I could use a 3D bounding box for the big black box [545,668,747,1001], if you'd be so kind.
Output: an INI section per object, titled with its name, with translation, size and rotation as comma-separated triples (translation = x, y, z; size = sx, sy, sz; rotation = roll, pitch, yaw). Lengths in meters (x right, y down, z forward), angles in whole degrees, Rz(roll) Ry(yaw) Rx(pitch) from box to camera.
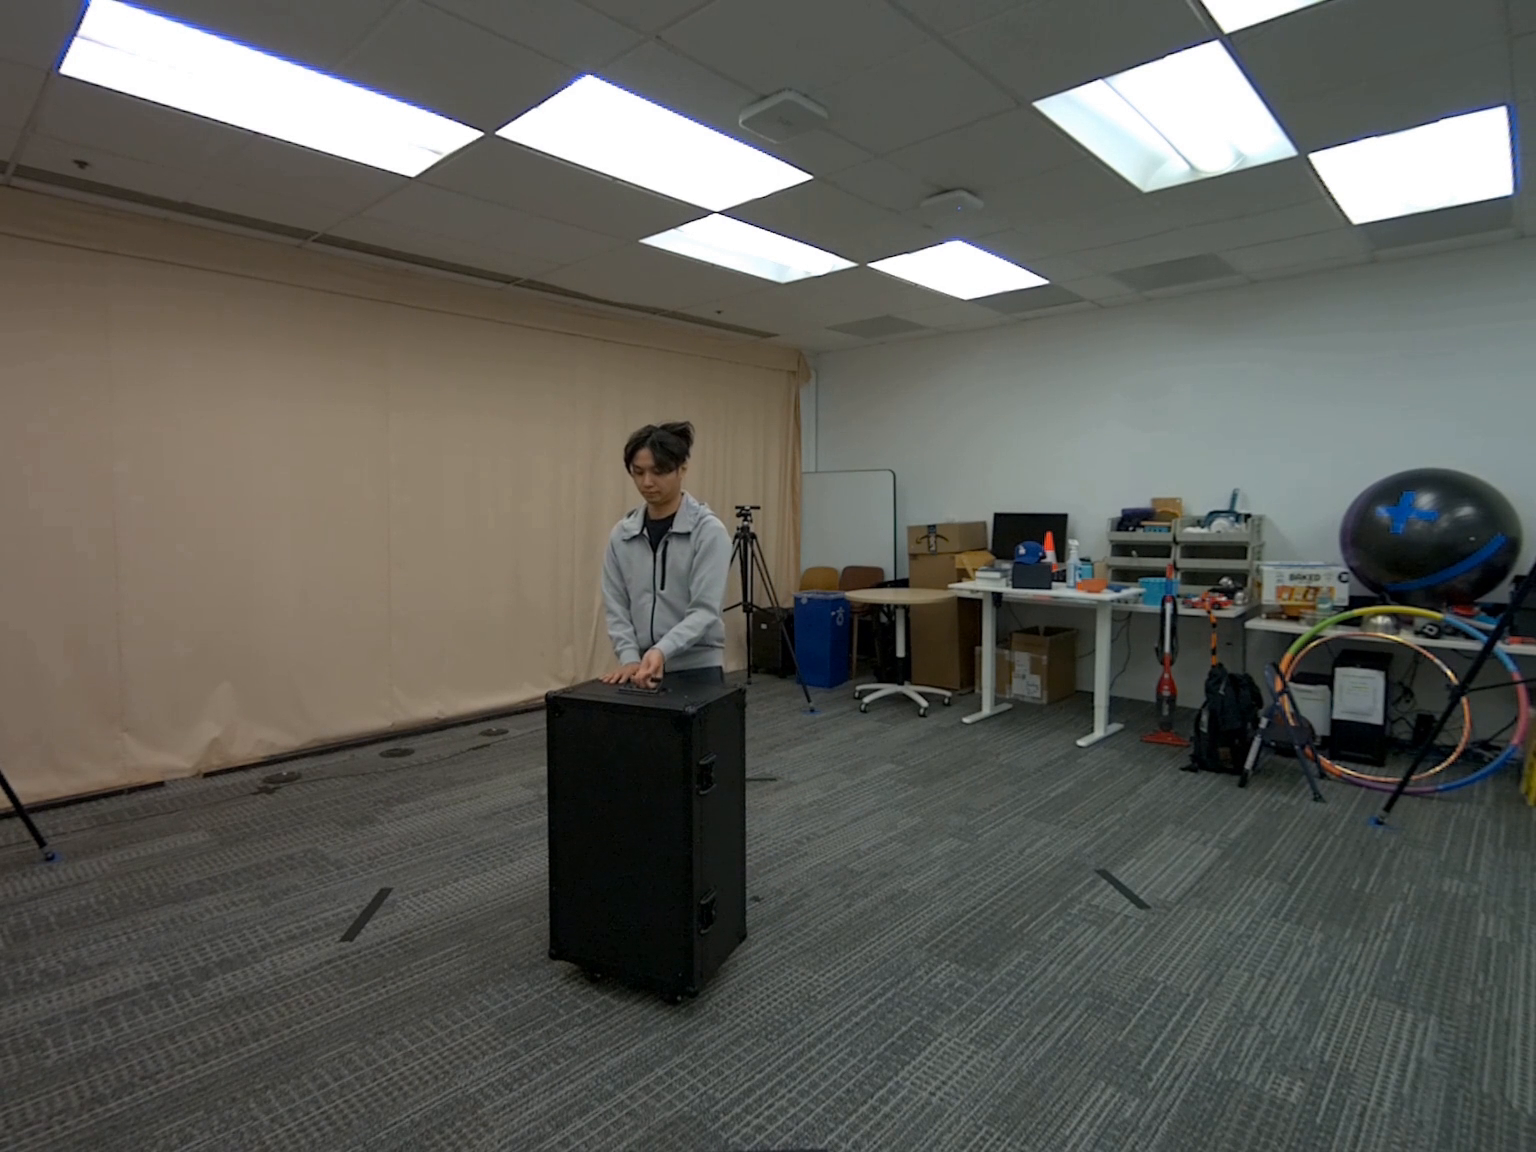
[big black box]
translation = -0.350, 0.755, 2.518
size = 0.534, 0.860, 0.387
rotation = 1, 2, 24
